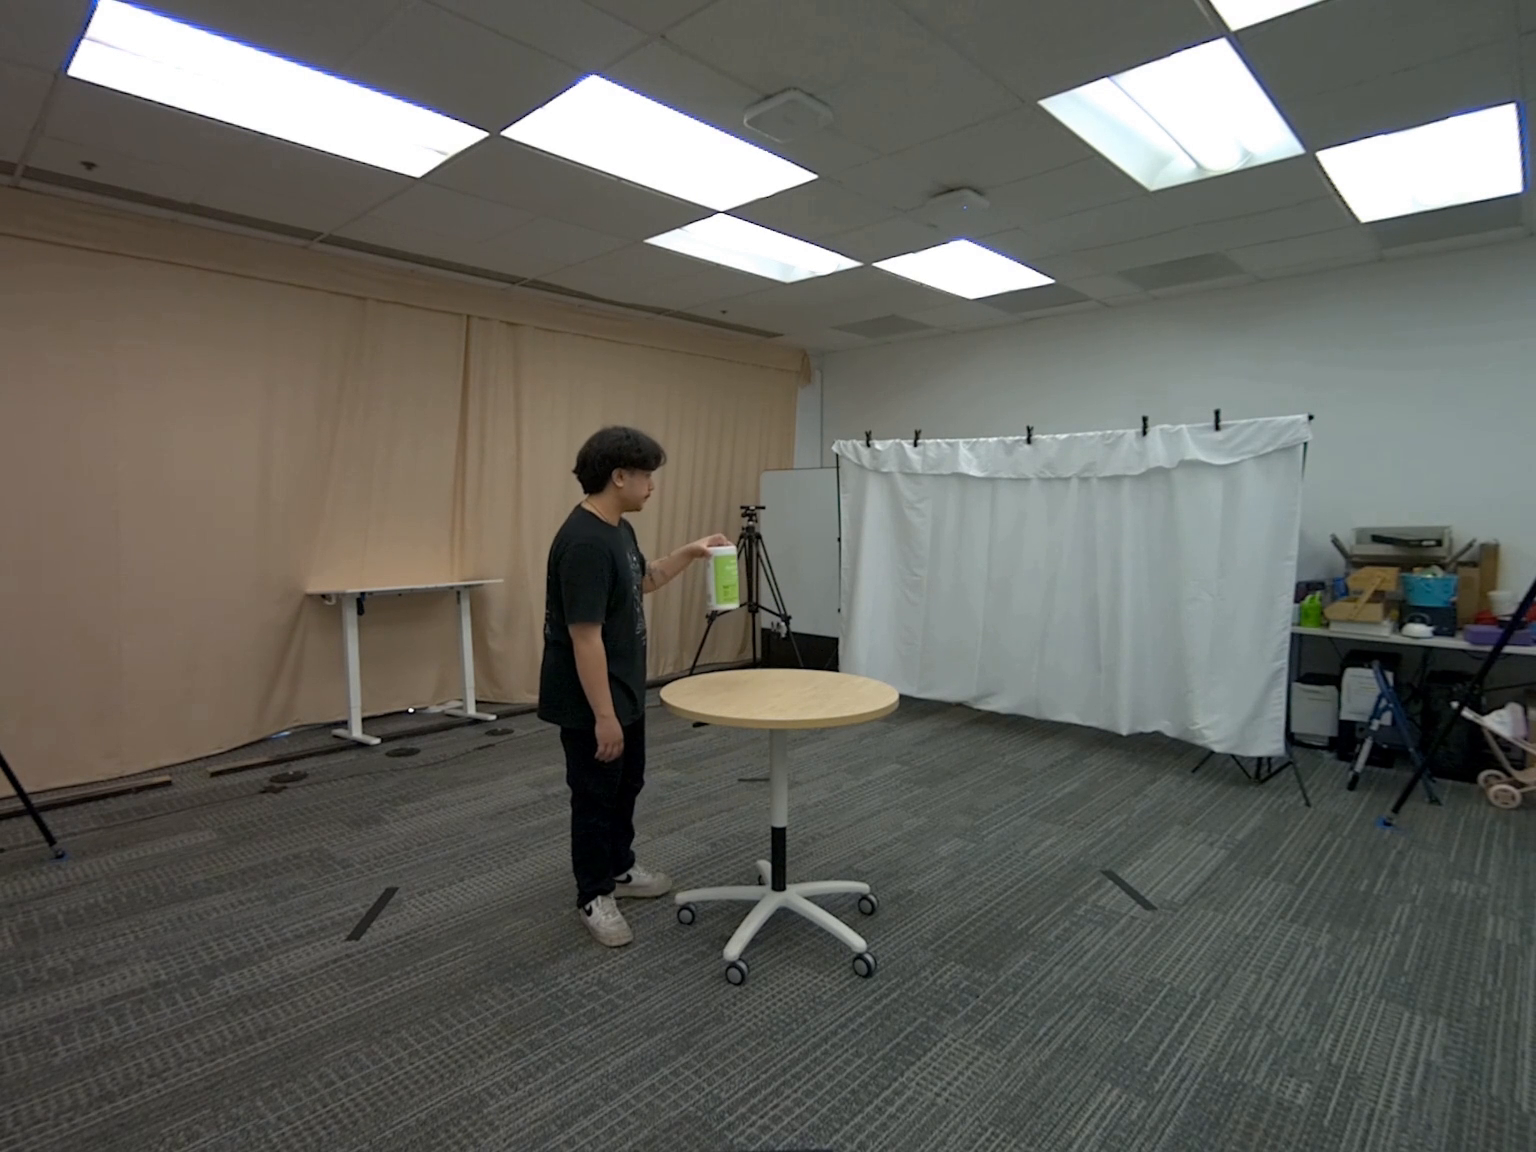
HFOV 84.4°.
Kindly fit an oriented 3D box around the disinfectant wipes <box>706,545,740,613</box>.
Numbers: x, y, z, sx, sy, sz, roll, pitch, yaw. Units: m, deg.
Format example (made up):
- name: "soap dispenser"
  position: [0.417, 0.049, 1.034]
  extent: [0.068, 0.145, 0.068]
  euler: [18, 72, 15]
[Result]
- name: "disinfectant wipes"
  position: [-0.162, 0.008, 2.890]
  extent: [0.118, 0.217, 0.118]
  euler: [-2, 3, -2]
